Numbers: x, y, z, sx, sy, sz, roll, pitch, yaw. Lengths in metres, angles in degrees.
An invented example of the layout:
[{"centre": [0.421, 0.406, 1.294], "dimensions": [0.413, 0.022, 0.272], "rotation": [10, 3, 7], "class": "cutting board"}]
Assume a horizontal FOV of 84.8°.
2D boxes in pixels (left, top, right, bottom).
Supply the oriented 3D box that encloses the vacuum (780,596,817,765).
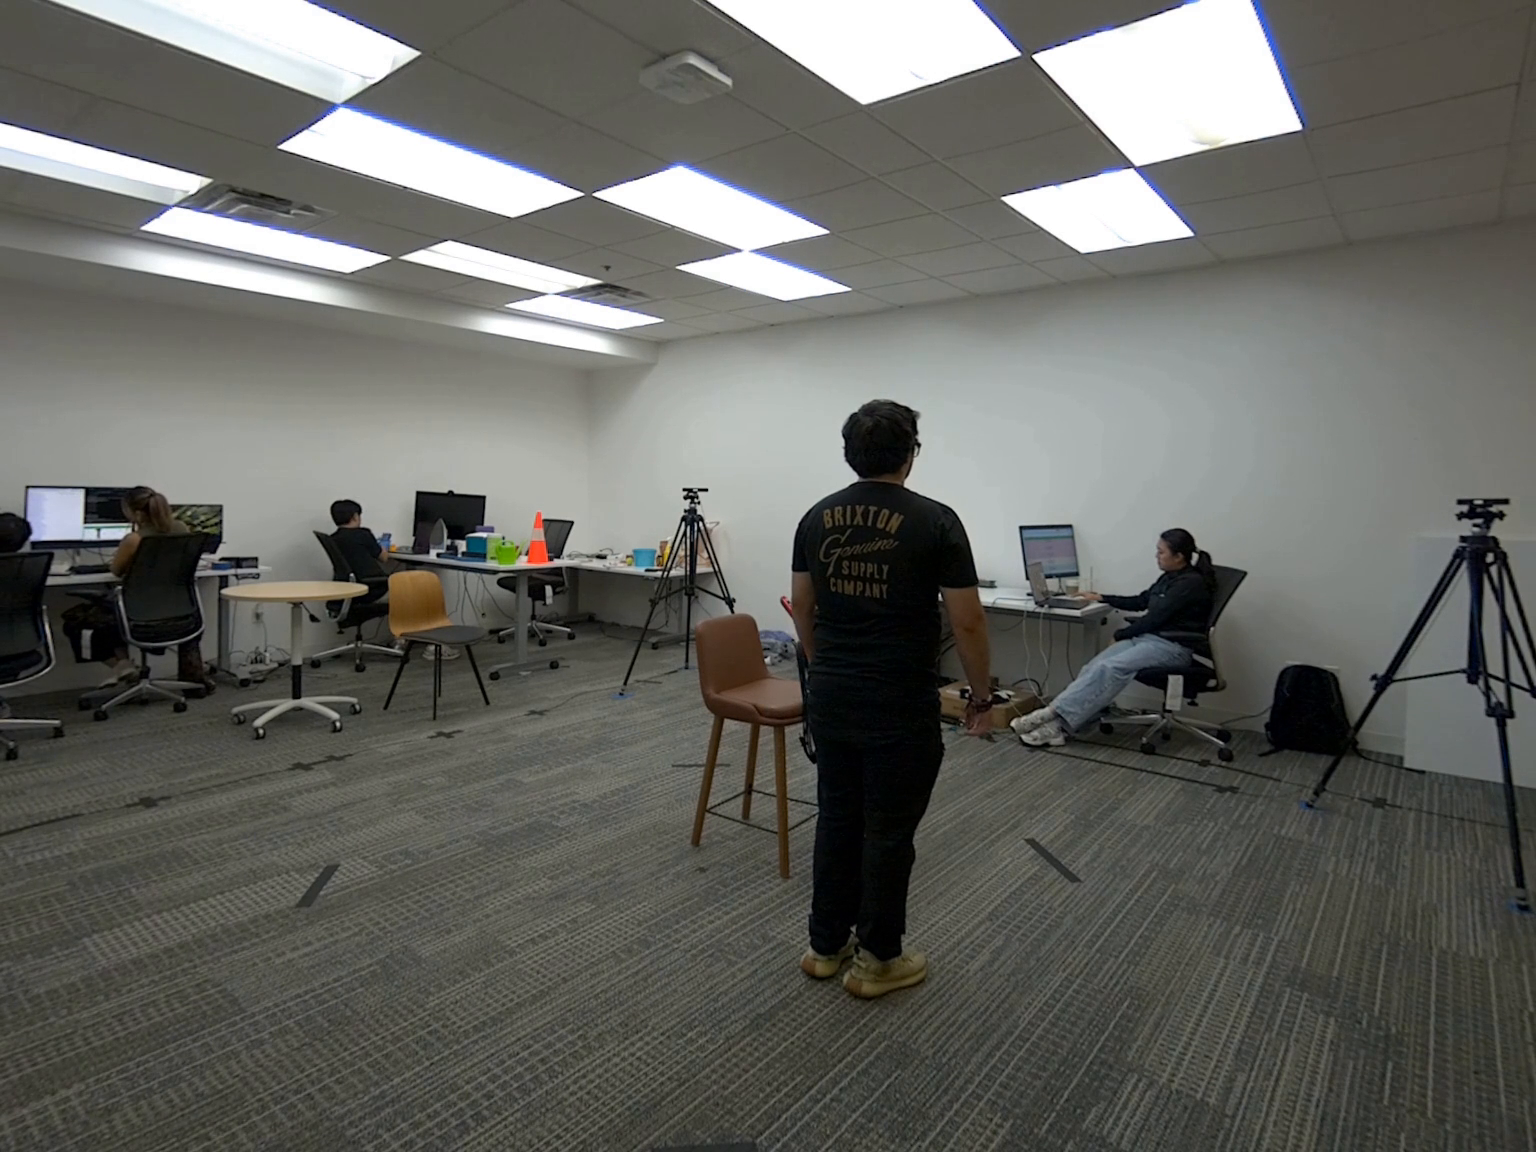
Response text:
[{"centre": [0.197, 0.589, 3.094], "dimensions": [0.245, 1.064, 0.146], "rotation": [-4, -16, -47], "class": "vacuum"}]
